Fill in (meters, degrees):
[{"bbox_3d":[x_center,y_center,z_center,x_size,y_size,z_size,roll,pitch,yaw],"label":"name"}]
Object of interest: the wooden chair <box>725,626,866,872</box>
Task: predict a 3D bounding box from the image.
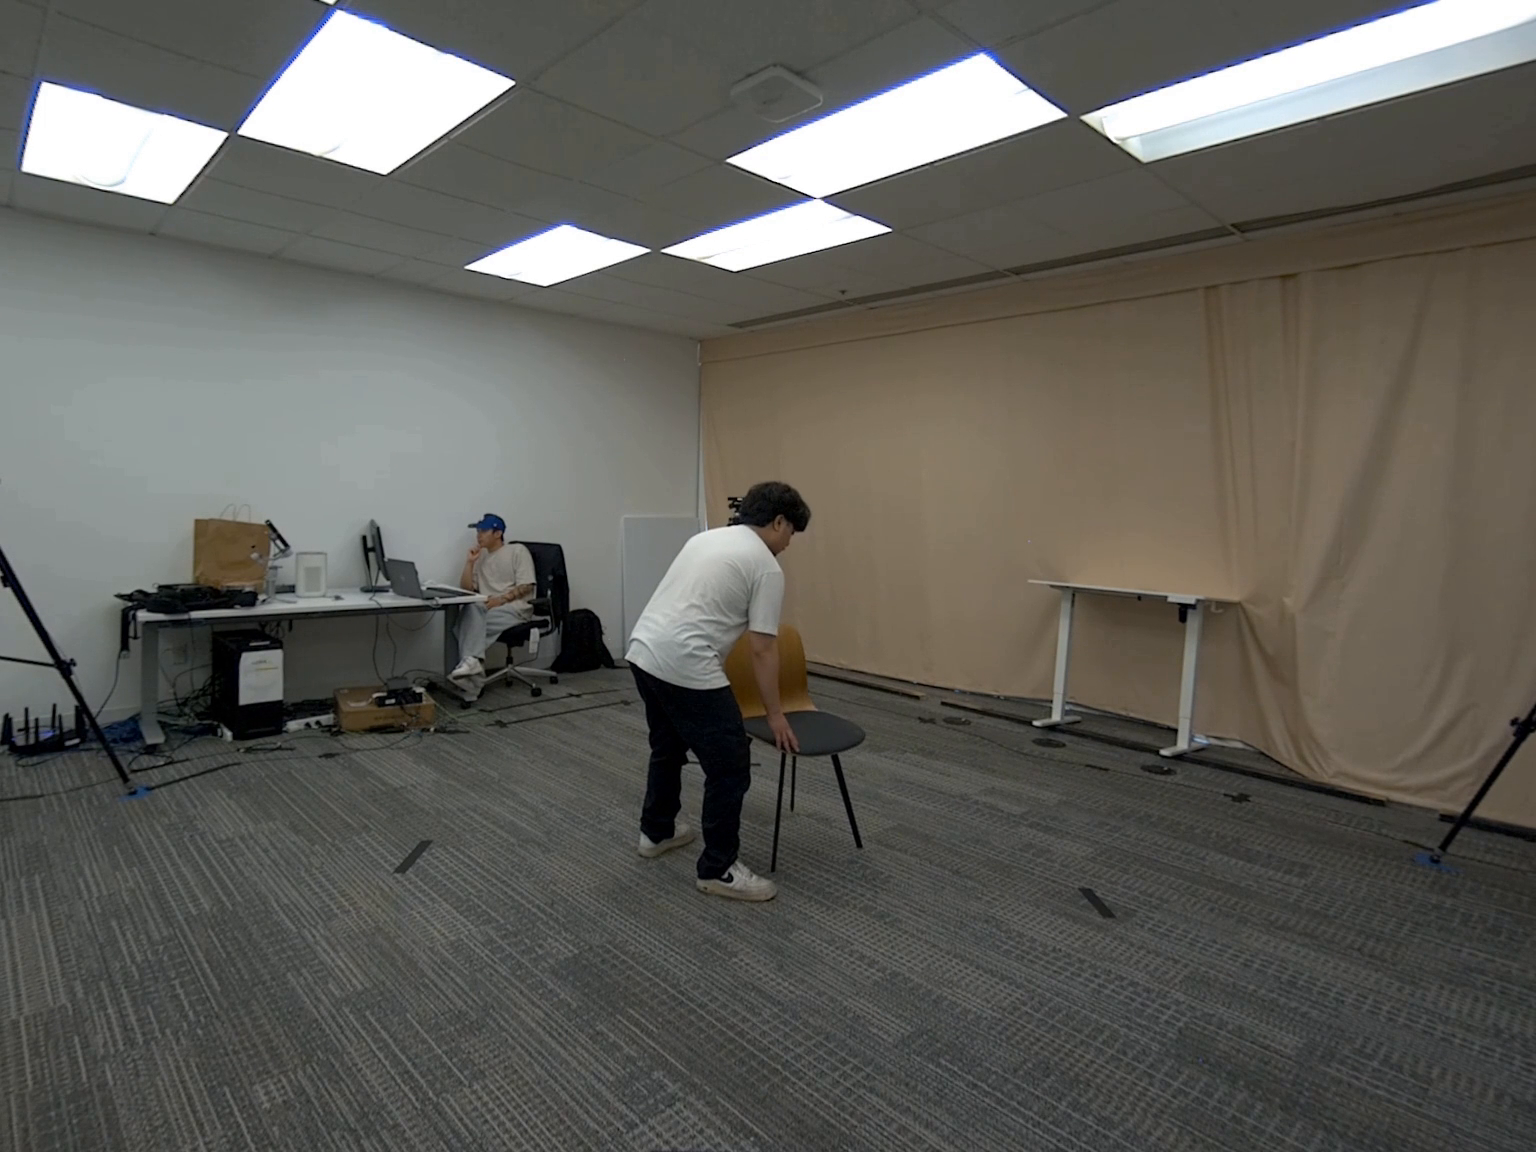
[{"bbox_3d":[0.088,0.653,3.404,0.467,0.877,0.535,0,1,-35],"label":"wooden chair"}]
